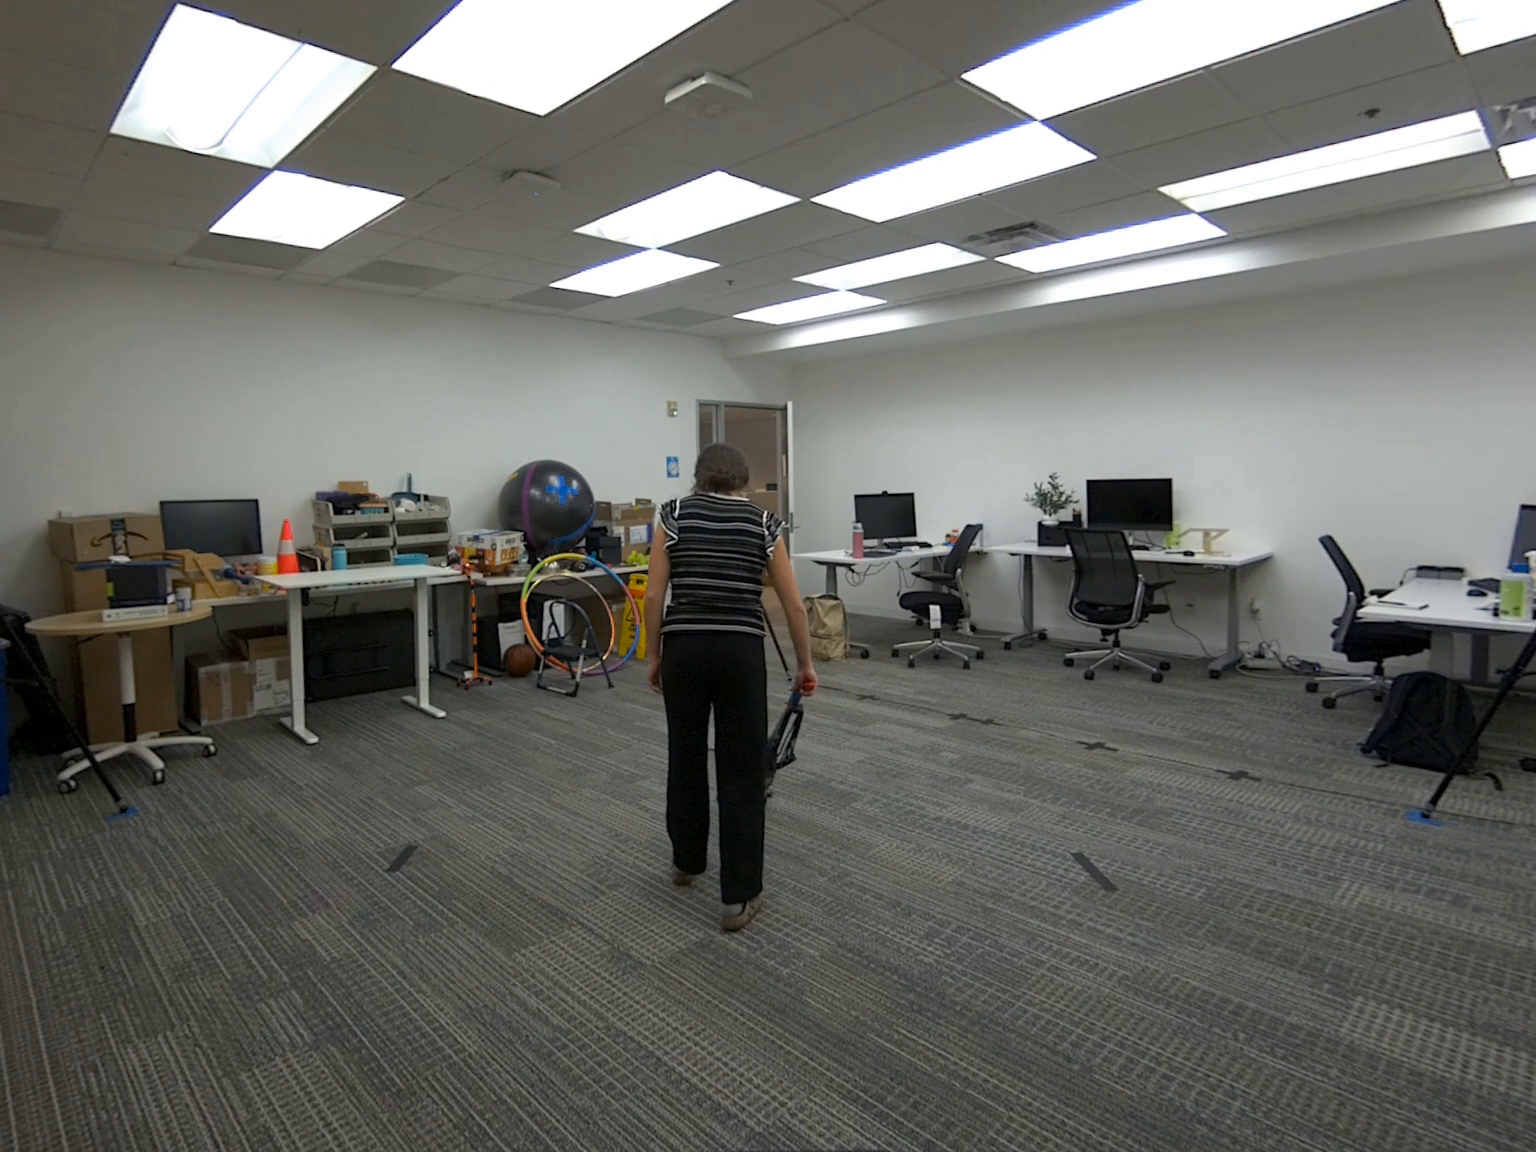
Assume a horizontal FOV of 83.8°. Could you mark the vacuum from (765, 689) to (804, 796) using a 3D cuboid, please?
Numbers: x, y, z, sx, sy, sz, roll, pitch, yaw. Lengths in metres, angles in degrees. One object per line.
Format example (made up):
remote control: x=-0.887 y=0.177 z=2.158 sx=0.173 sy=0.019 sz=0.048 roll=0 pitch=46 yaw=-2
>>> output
vacuum: x=0.024 y=0.669 z=3.297 sx=0.249 sy=0.148 sz=1.032 roll=1 pitch=-36 yaw=-16
